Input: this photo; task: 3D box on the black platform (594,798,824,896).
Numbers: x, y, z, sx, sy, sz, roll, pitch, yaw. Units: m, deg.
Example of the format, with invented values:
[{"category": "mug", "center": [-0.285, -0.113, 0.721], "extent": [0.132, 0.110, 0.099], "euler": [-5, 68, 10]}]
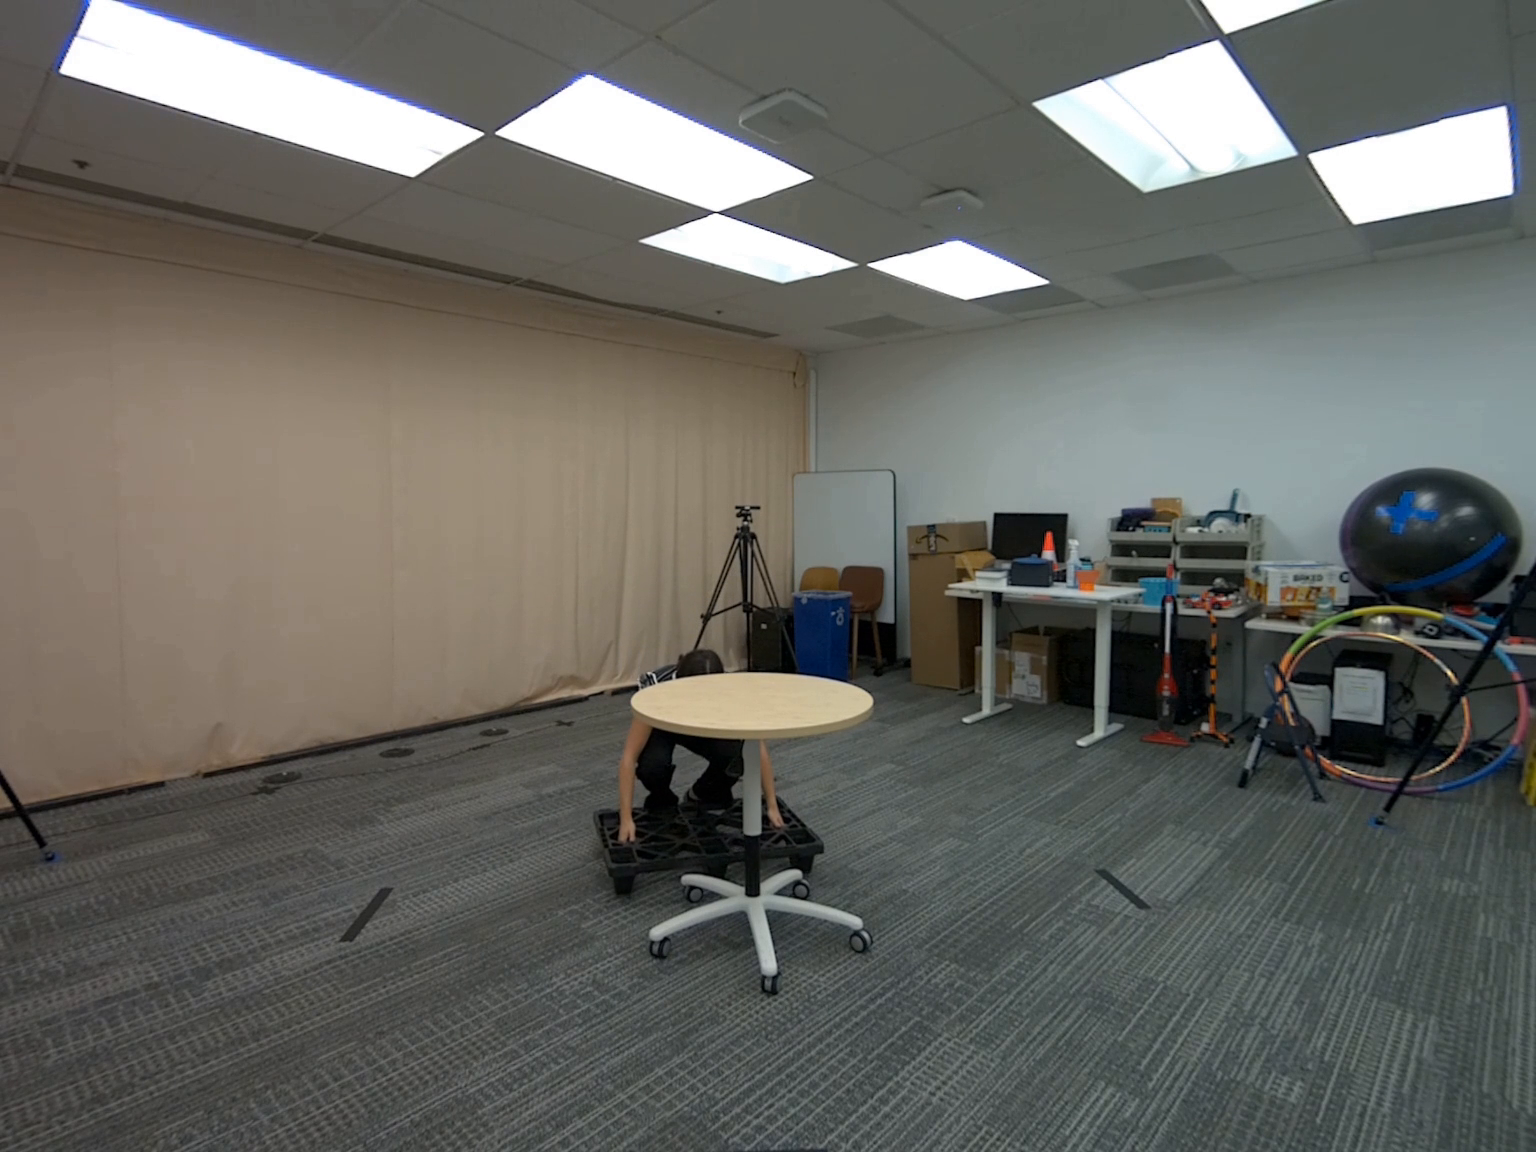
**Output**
[{"category": "black platform", "center": [-0.250, 1.042, 3.297], "extent": [0.794, 0.143, 0.615], "euler": [-2, 5, -14]}]
